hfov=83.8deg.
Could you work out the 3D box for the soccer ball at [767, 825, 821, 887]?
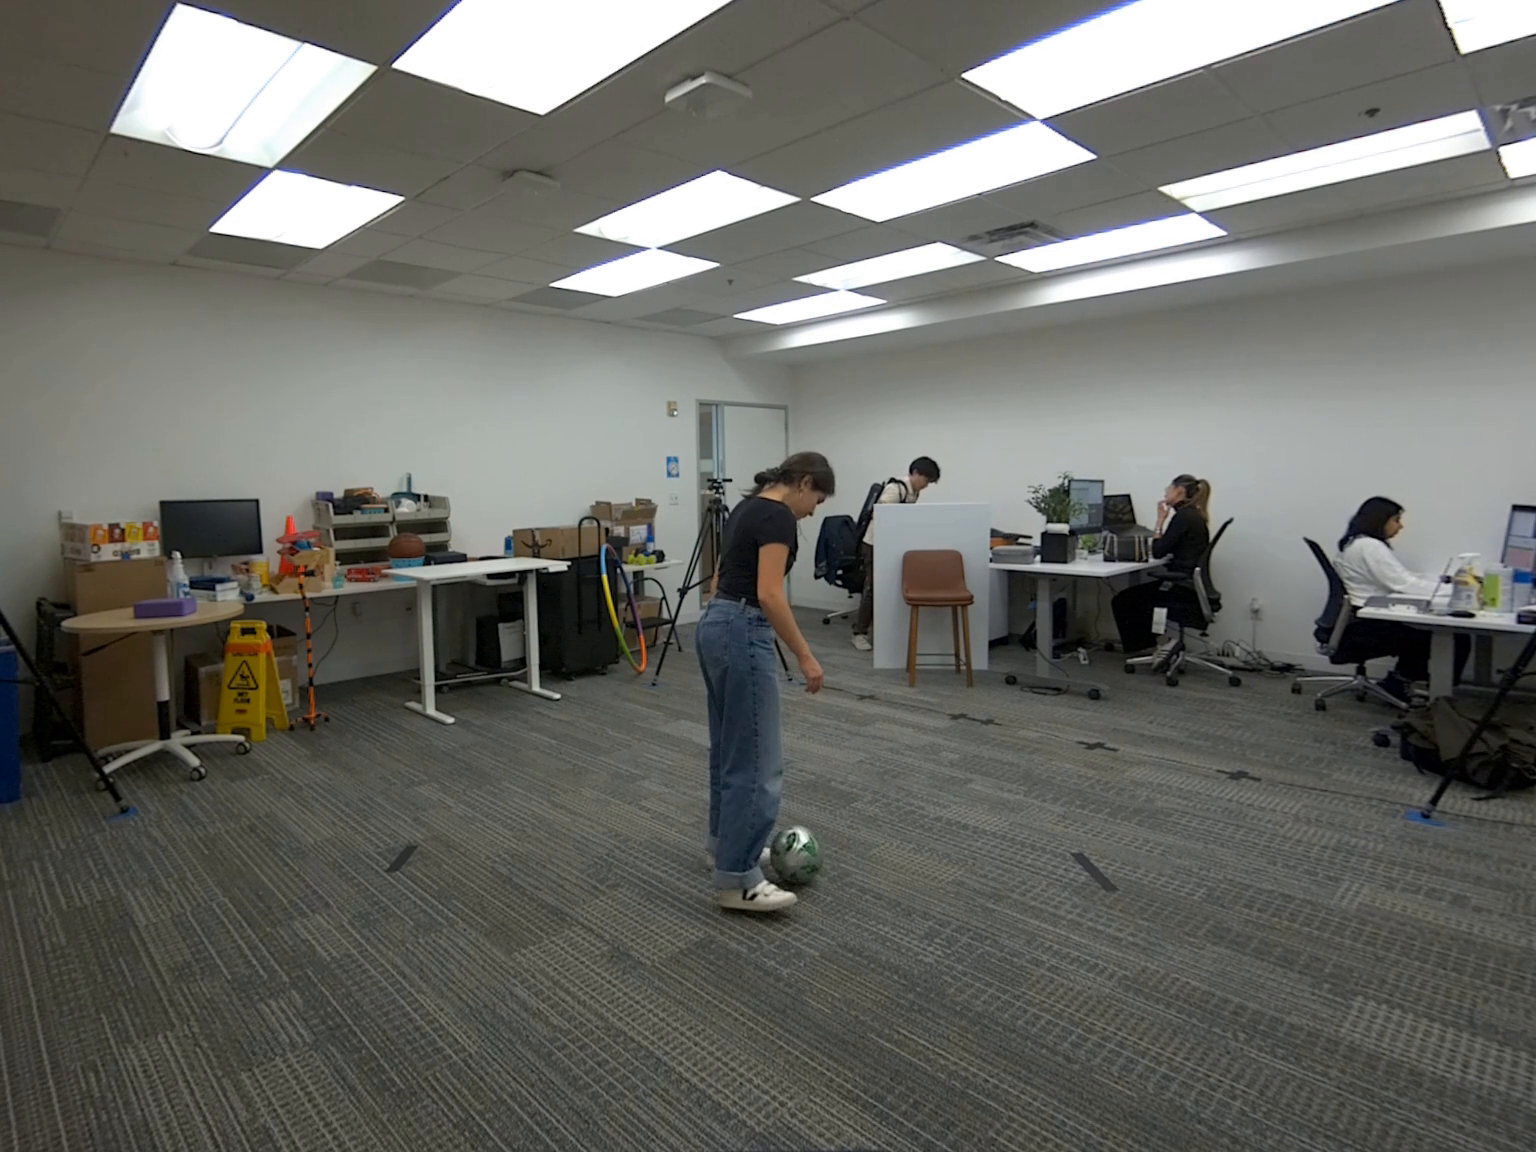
[{"bbox_3d":[0.105,0.965,2.962,0.187,0.187,0.188,-1,5,-2],"label":"soccer ball"}]
